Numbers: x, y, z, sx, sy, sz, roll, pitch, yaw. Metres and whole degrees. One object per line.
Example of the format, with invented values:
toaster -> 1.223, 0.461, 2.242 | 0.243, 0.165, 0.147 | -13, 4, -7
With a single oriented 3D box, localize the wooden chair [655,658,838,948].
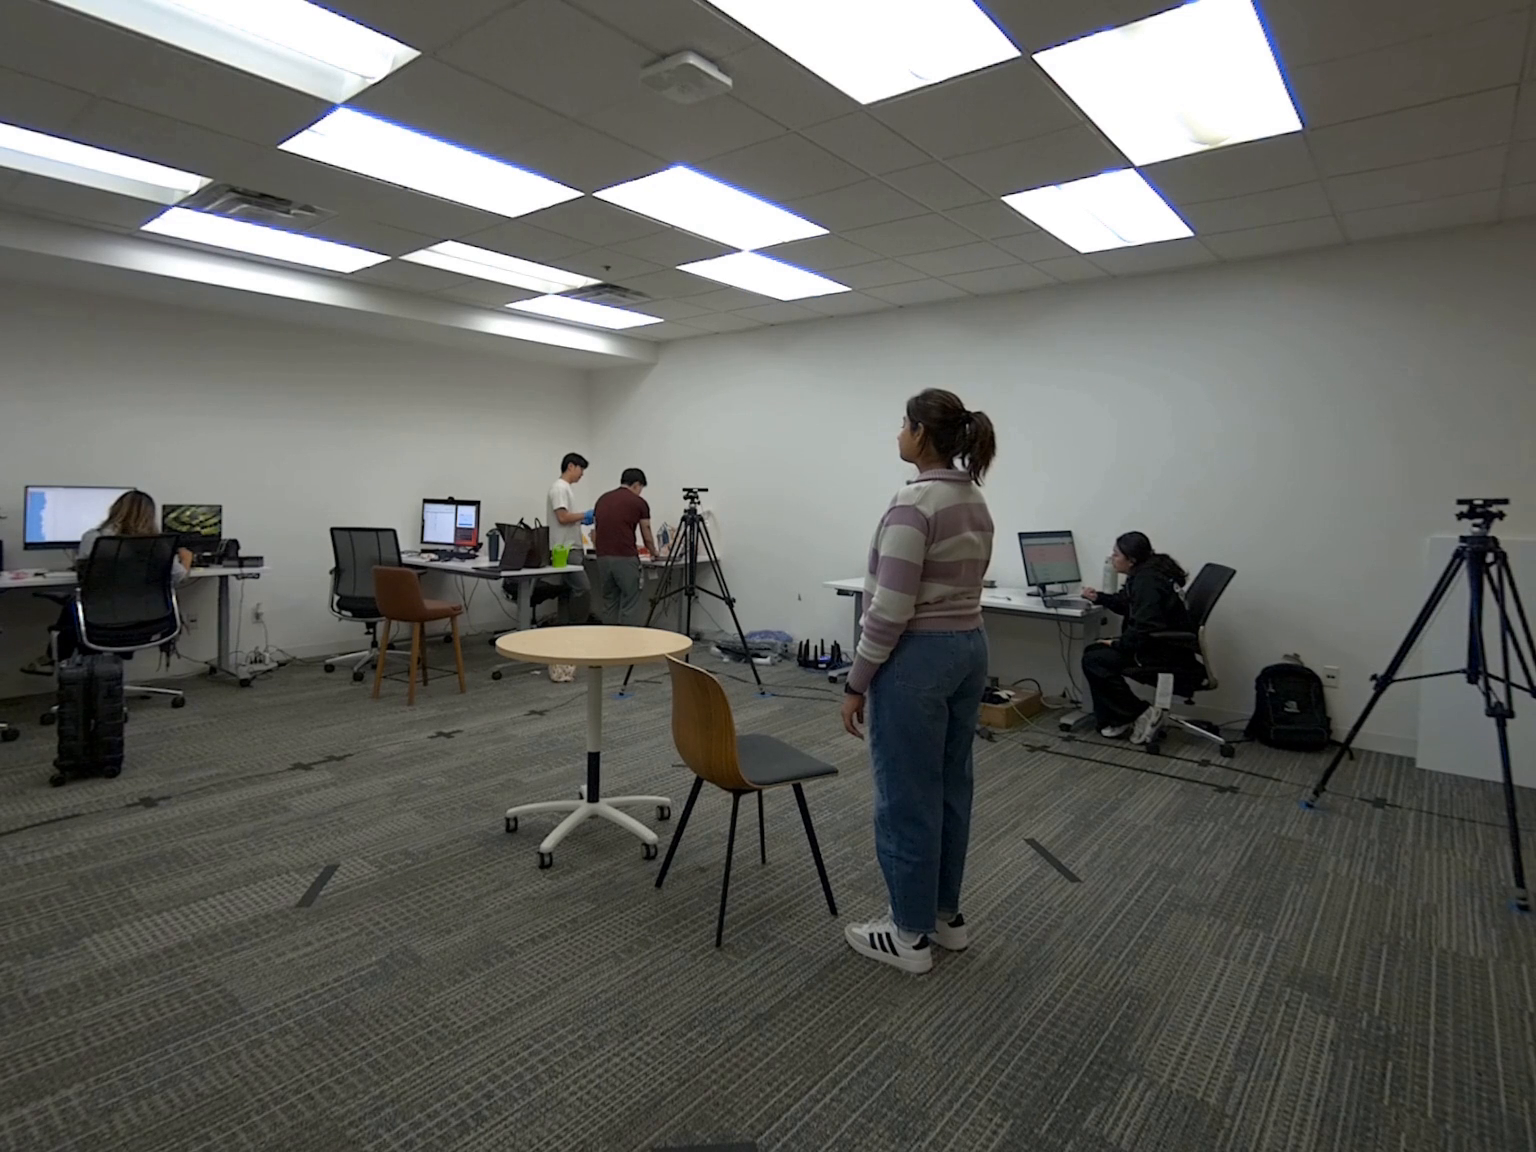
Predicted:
wooden chair -> -0.074, 0.670, 2.856 | 0.510, 0.873, 0.492 | -6, 6, -31
